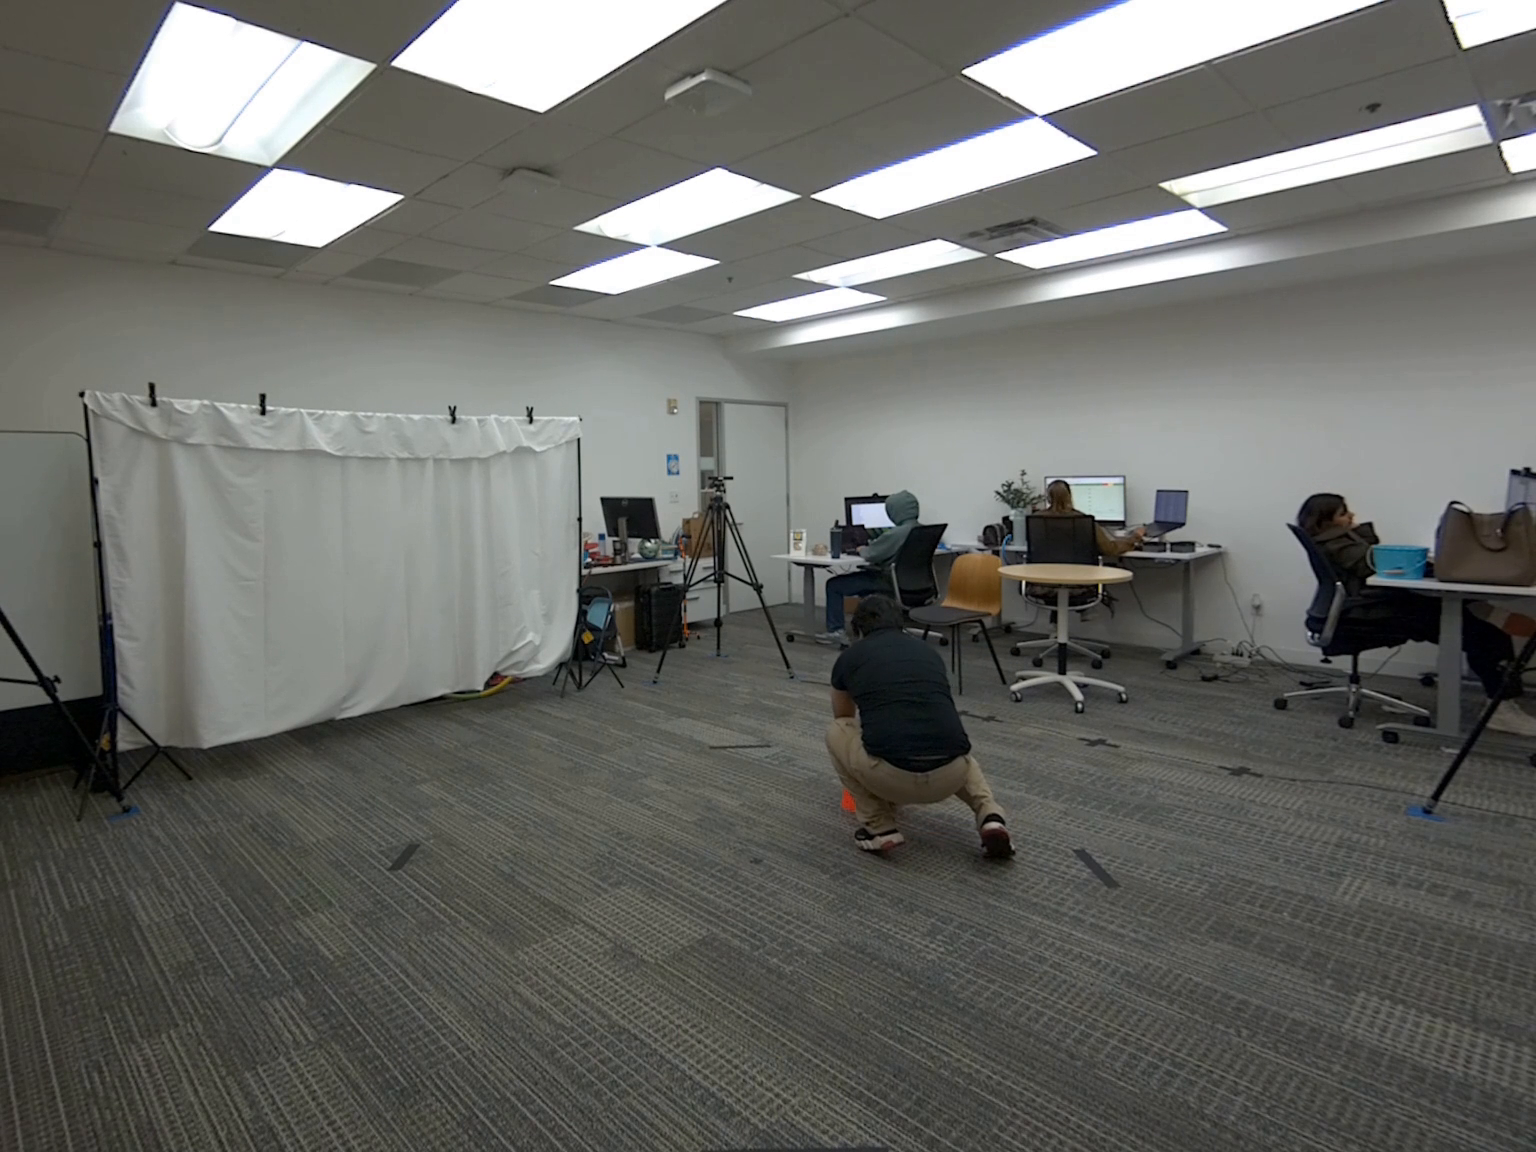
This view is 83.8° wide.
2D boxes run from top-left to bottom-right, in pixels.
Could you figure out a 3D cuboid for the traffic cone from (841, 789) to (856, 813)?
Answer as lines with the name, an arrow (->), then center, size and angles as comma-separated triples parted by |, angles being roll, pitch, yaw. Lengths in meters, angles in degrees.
traffic cone -> 0.538, 0.914, 3.658 | 0.371, 0.205, 0.210 | 13, -10, -40
